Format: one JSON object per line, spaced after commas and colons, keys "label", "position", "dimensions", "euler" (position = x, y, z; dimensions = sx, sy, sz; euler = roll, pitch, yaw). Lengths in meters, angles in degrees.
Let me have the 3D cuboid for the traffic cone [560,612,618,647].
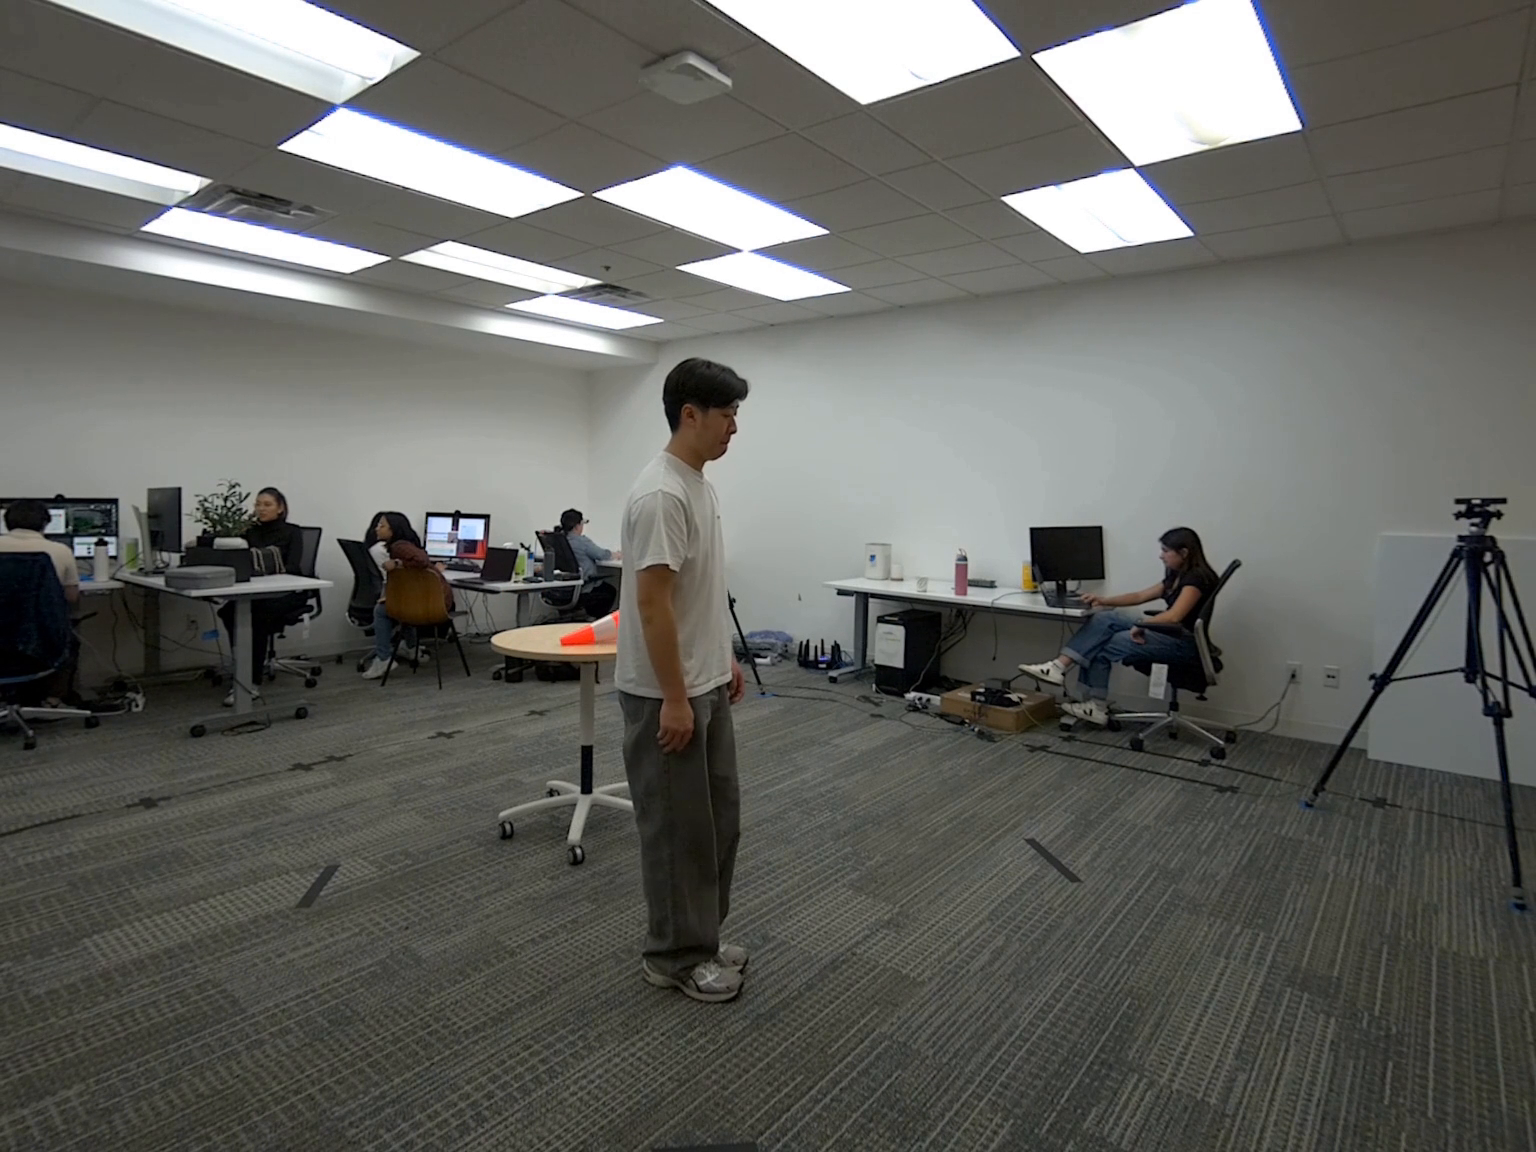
{"label": "traffic cone", "position": [-0.629, 0.195, 3.329], "dimensions": [0.377, 0.203, 0.209], "euler": [-16, 10, -25]}
